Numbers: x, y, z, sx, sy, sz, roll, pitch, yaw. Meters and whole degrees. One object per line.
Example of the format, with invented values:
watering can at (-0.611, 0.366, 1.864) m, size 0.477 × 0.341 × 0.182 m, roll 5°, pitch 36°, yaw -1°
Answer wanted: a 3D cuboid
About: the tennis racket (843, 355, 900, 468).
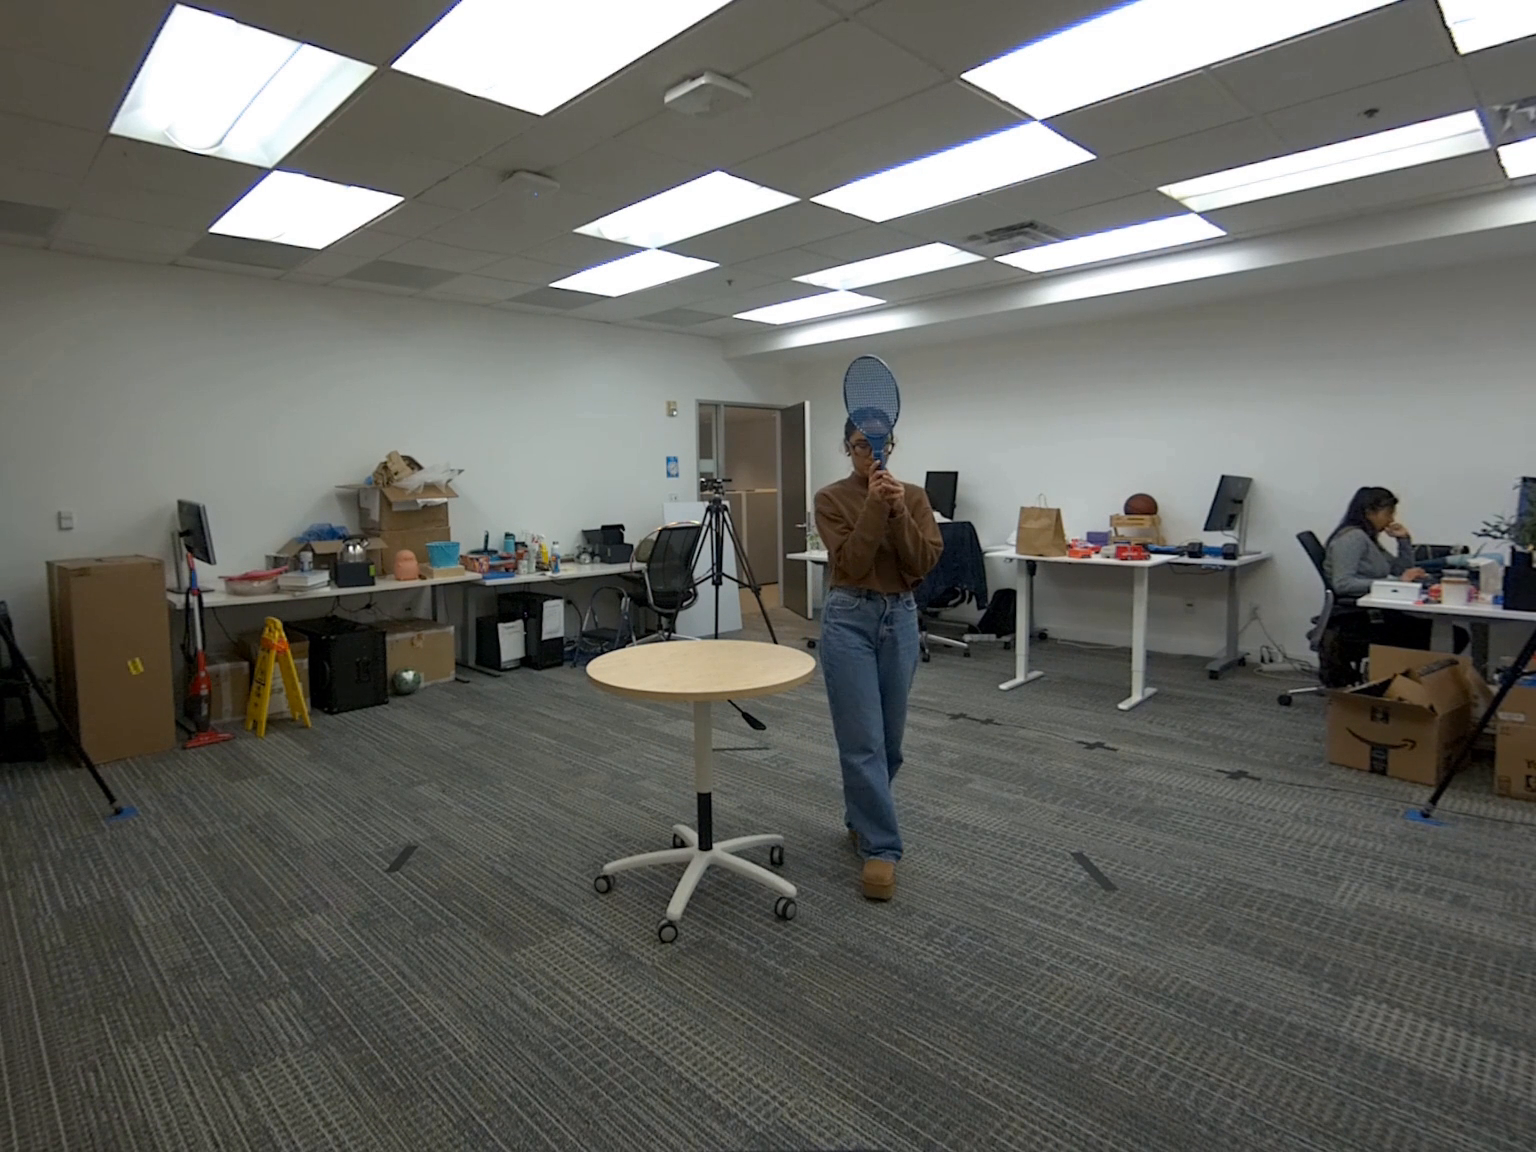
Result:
tennis racket at (0.346, -0.506, 2.786) m, size 0.221 × 0.425 × 0.031 m, roll 9°, pitch 24°, yaw 44°
